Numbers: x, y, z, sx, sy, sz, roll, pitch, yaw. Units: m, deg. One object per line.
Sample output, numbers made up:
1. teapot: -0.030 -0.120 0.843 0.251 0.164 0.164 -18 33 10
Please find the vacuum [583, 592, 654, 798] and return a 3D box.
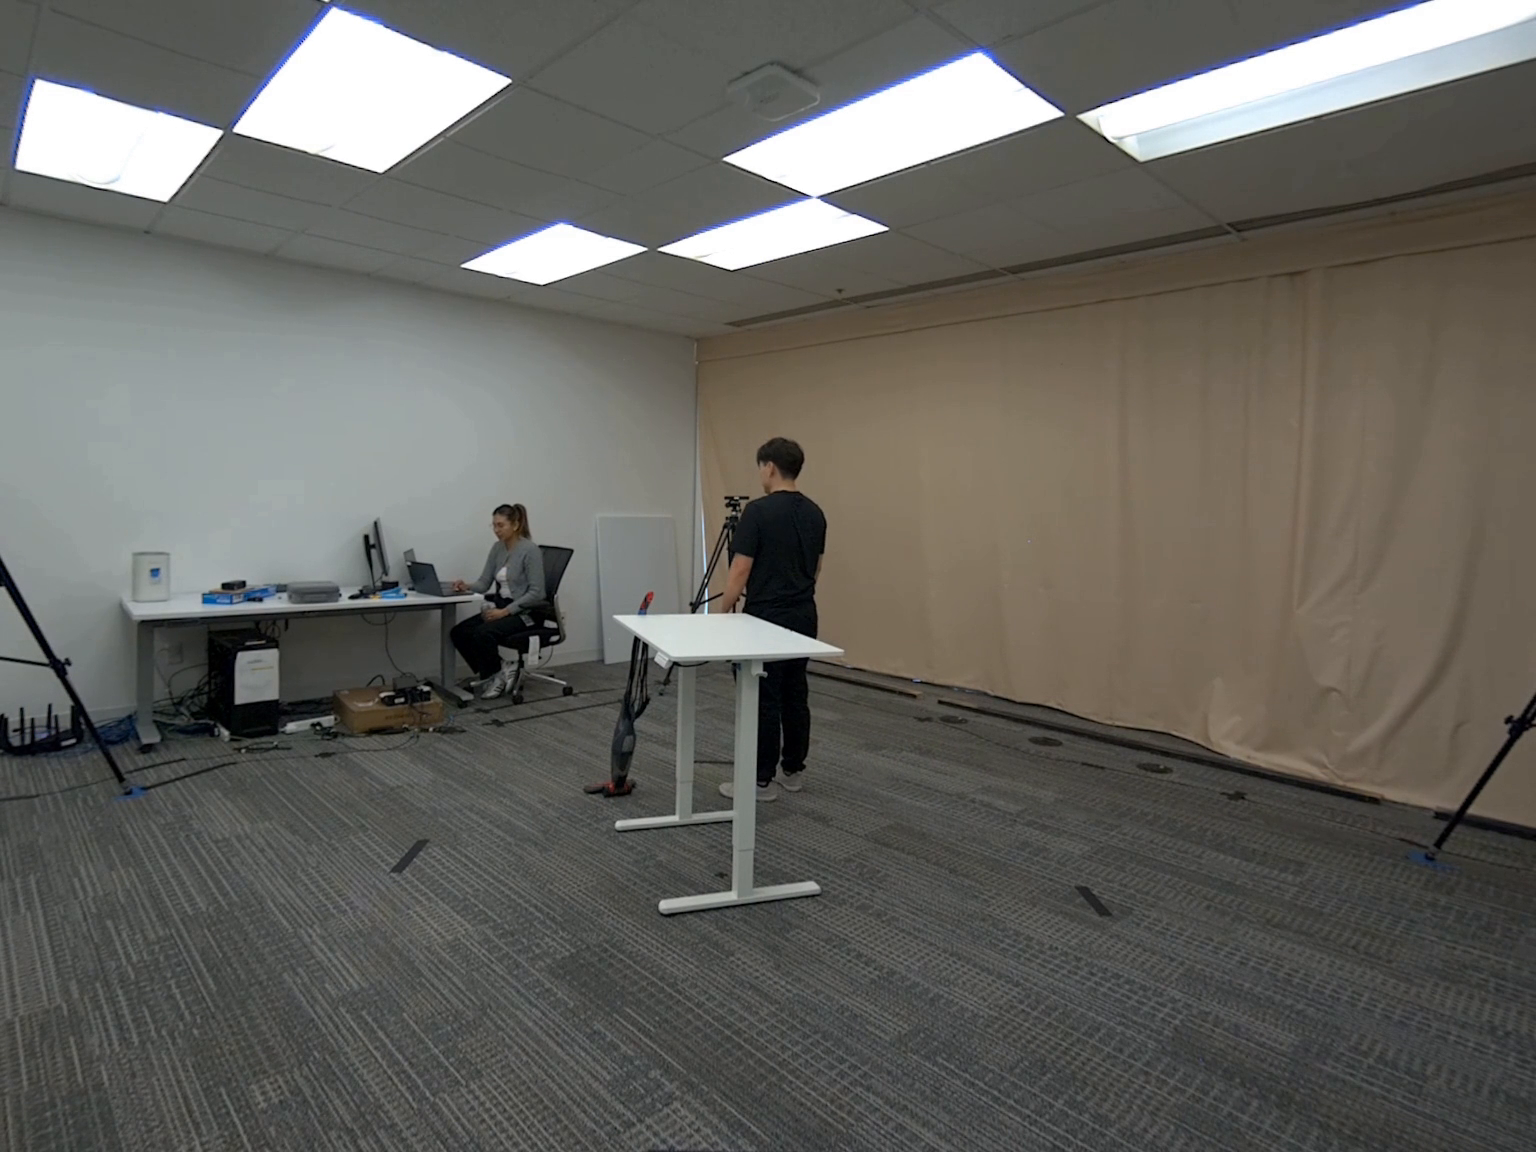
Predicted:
1. vacuum: -0.625 0.549 3.766 0.247 1.037 0.148 -1 27 -33
